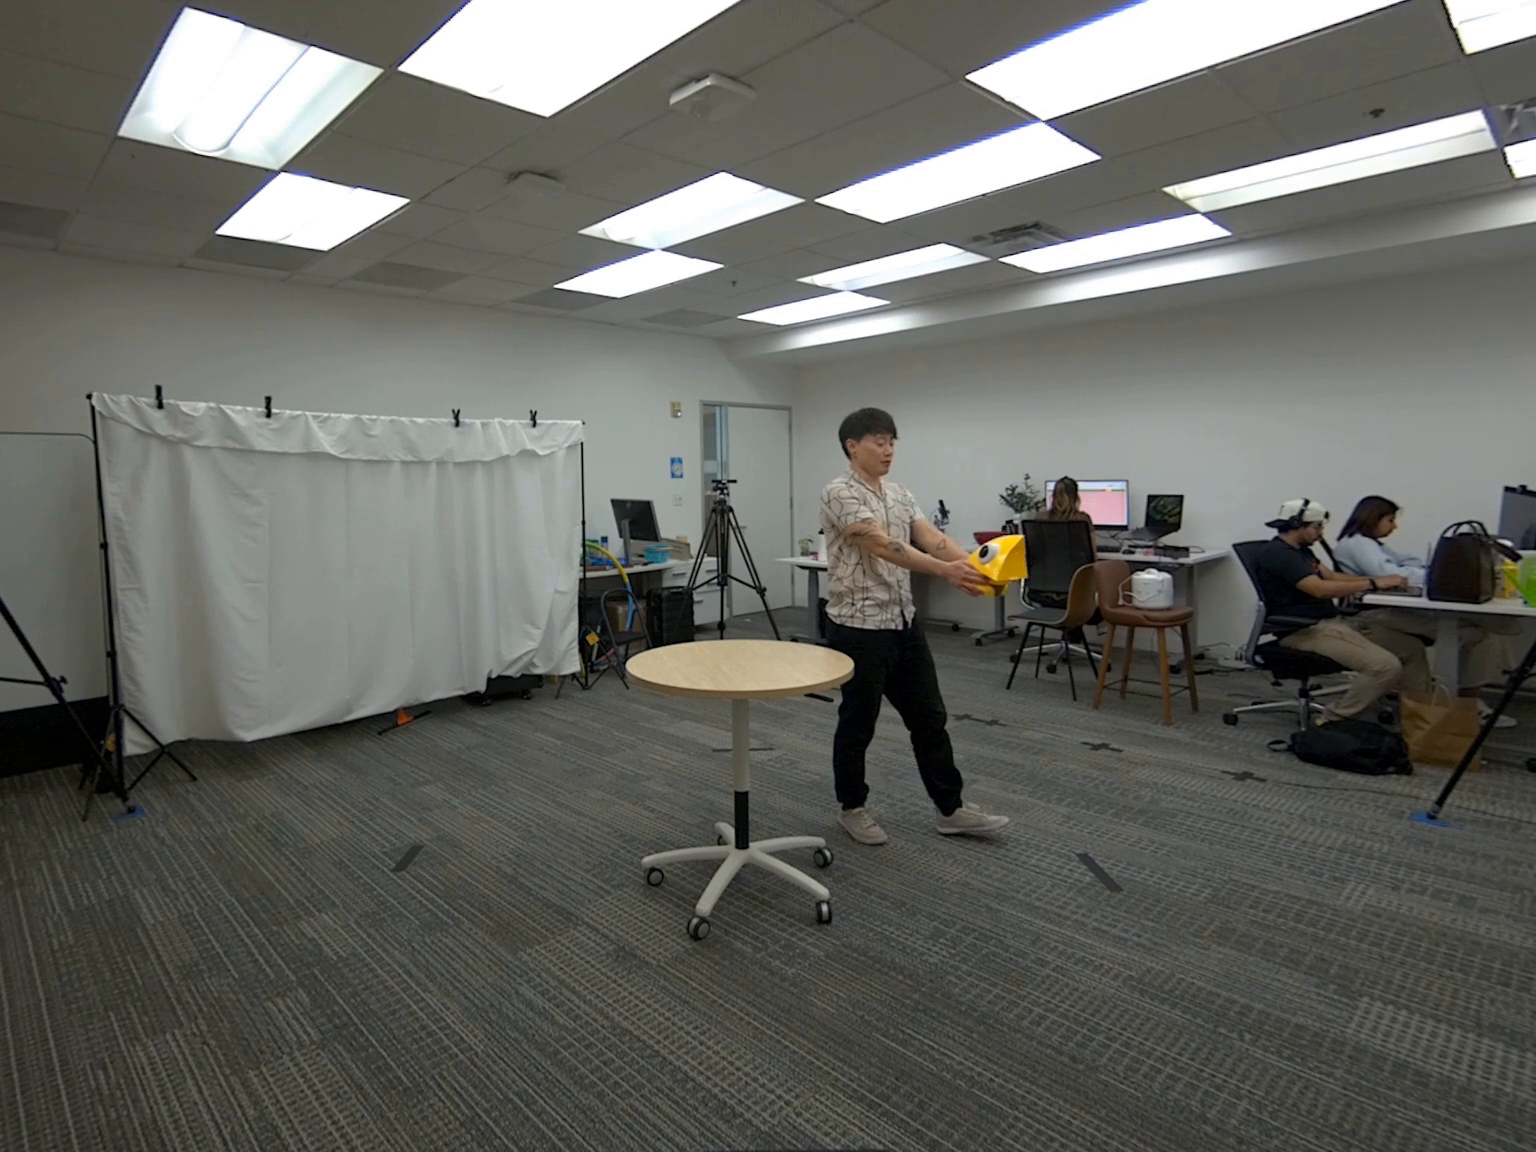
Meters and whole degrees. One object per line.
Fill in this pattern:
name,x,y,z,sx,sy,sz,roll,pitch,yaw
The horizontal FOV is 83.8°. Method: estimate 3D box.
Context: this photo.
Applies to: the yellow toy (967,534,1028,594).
yellow toy,0.779,-0.067,2.929,0.199,0.228,0.201,-3,31,-43
